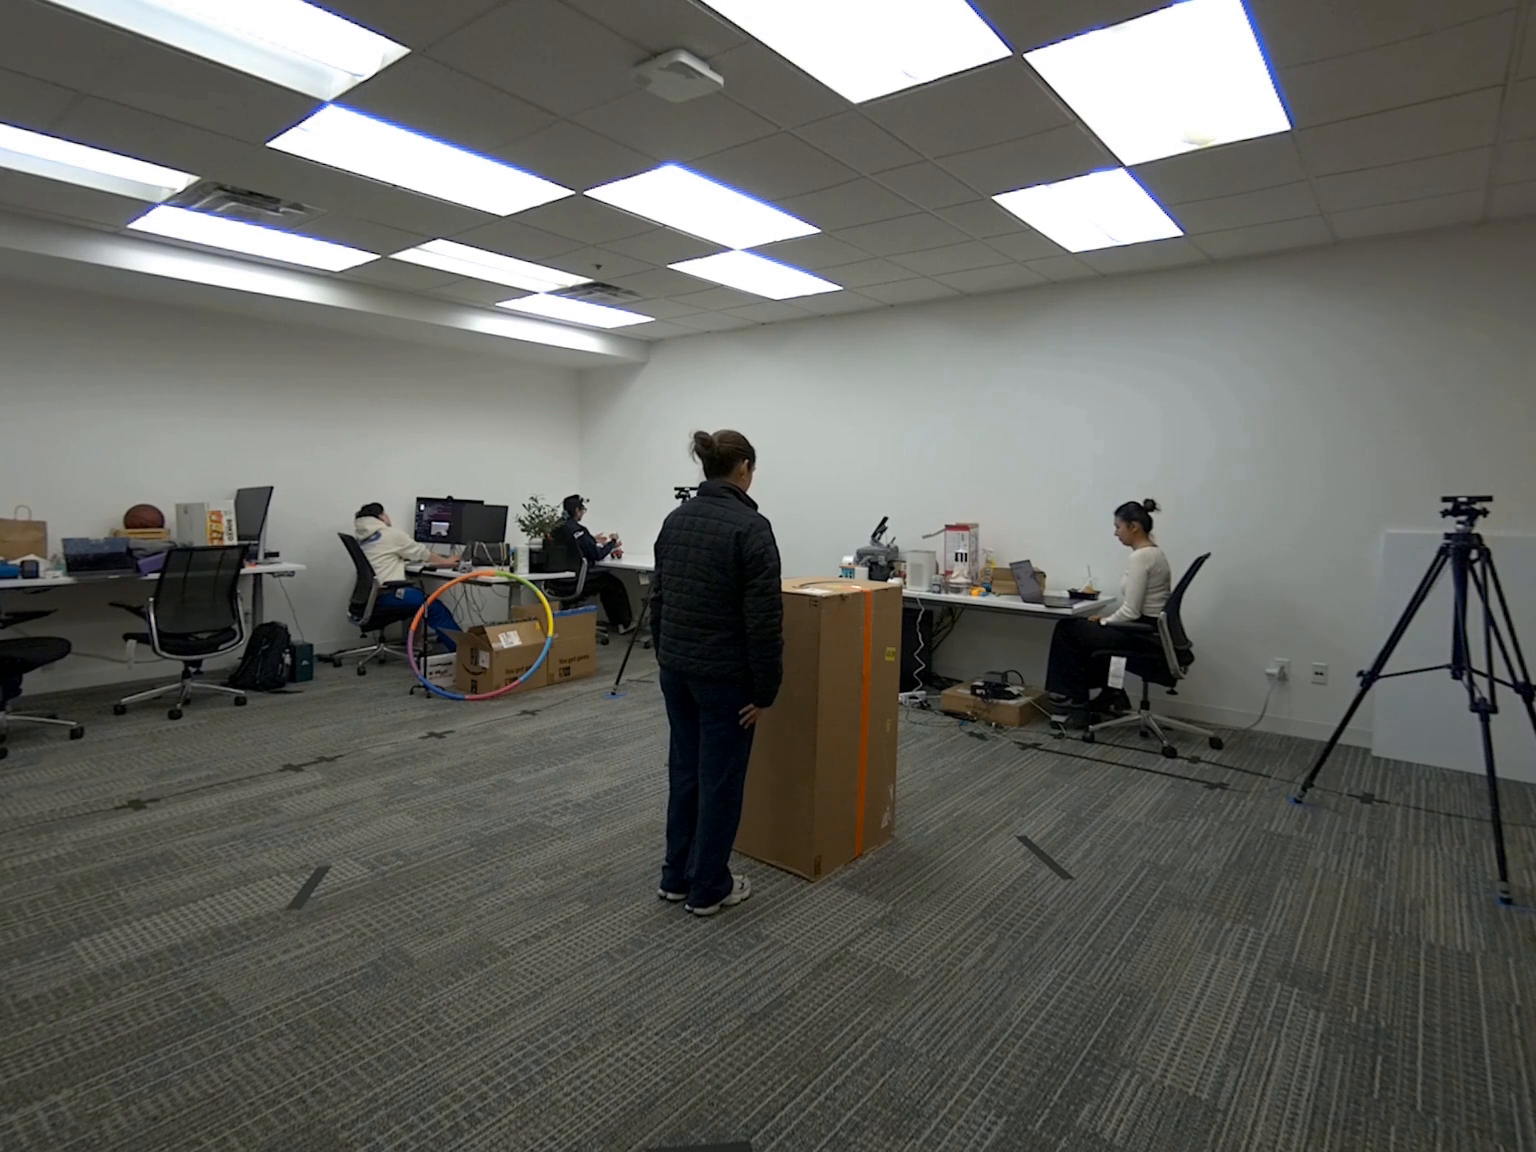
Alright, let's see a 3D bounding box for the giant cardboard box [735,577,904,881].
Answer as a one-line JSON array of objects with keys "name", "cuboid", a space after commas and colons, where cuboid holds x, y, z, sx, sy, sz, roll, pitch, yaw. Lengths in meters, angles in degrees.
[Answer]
[{"name": "giant cardboard box", "cuboid": [0.208, 0.541, 3.351, 0.440, 1.023, 0.560, 4, 4, 40]}]
